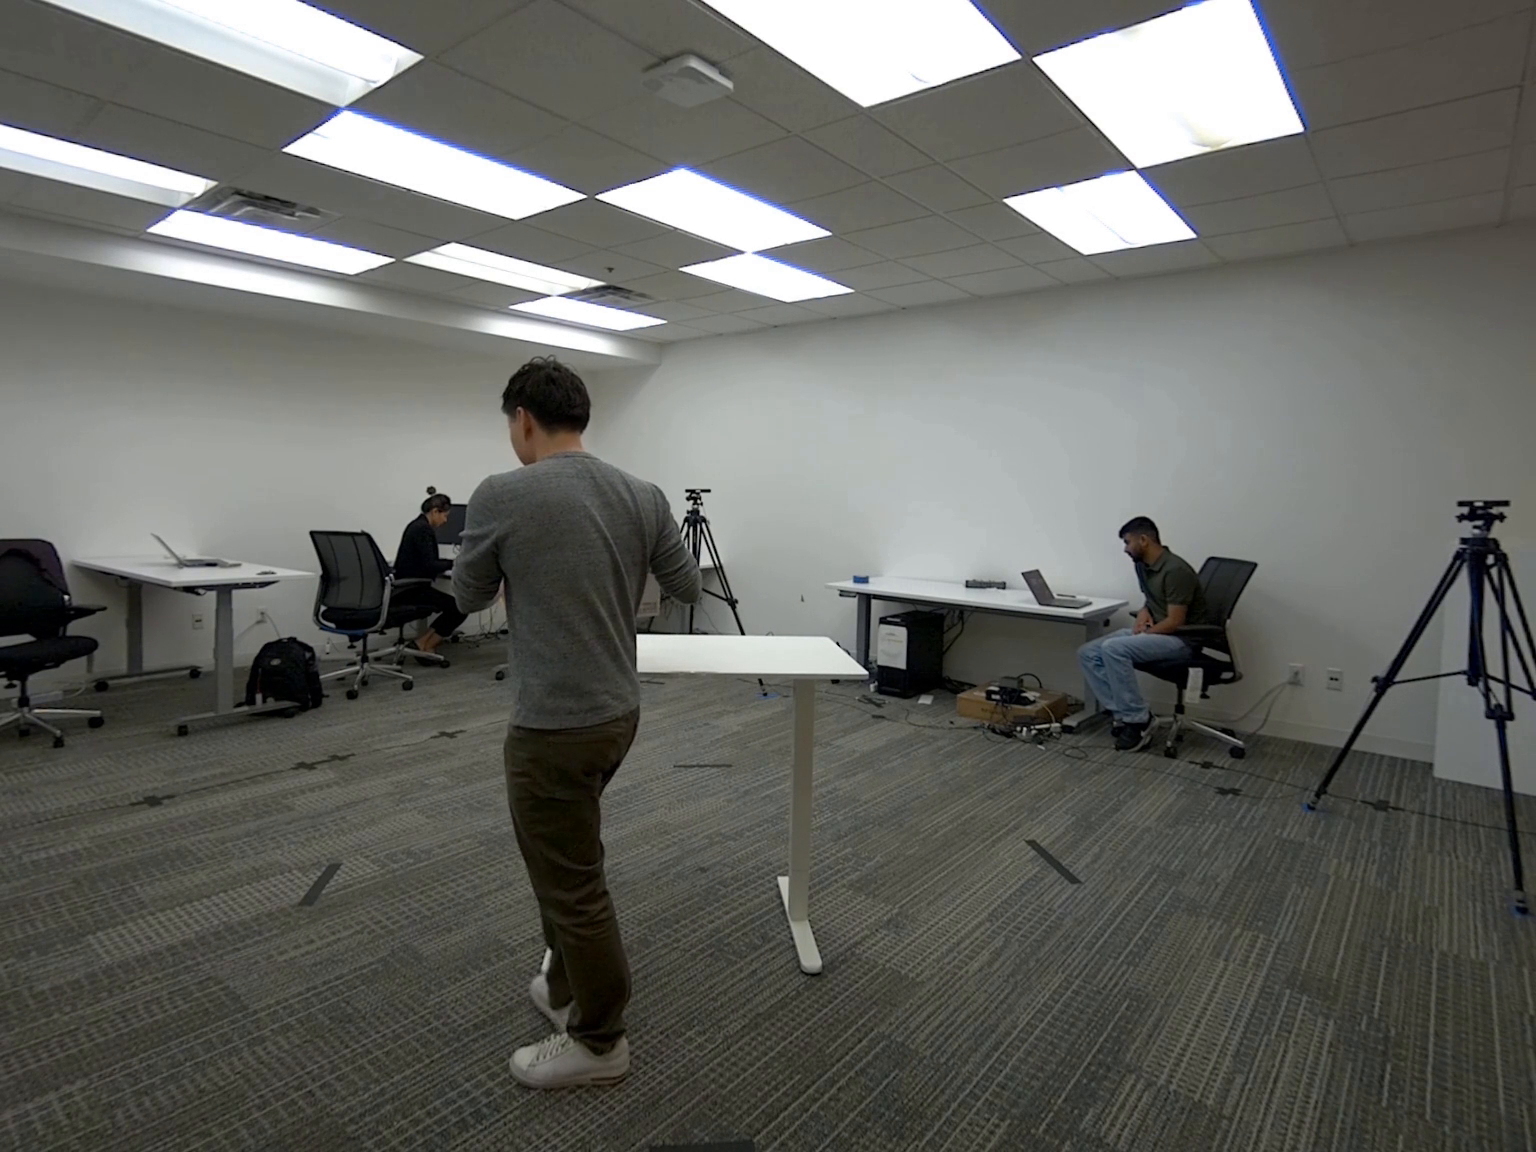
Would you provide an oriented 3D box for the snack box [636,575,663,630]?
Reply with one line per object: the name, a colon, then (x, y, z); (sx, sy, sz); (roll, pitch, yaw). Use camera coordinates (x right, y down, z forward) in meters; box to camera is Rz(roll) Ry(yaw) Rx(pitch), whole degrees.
snack box: (-0.566, -0.008, 2.471); (0.398, 0.203, 0.351); (-5, 16, -19)
